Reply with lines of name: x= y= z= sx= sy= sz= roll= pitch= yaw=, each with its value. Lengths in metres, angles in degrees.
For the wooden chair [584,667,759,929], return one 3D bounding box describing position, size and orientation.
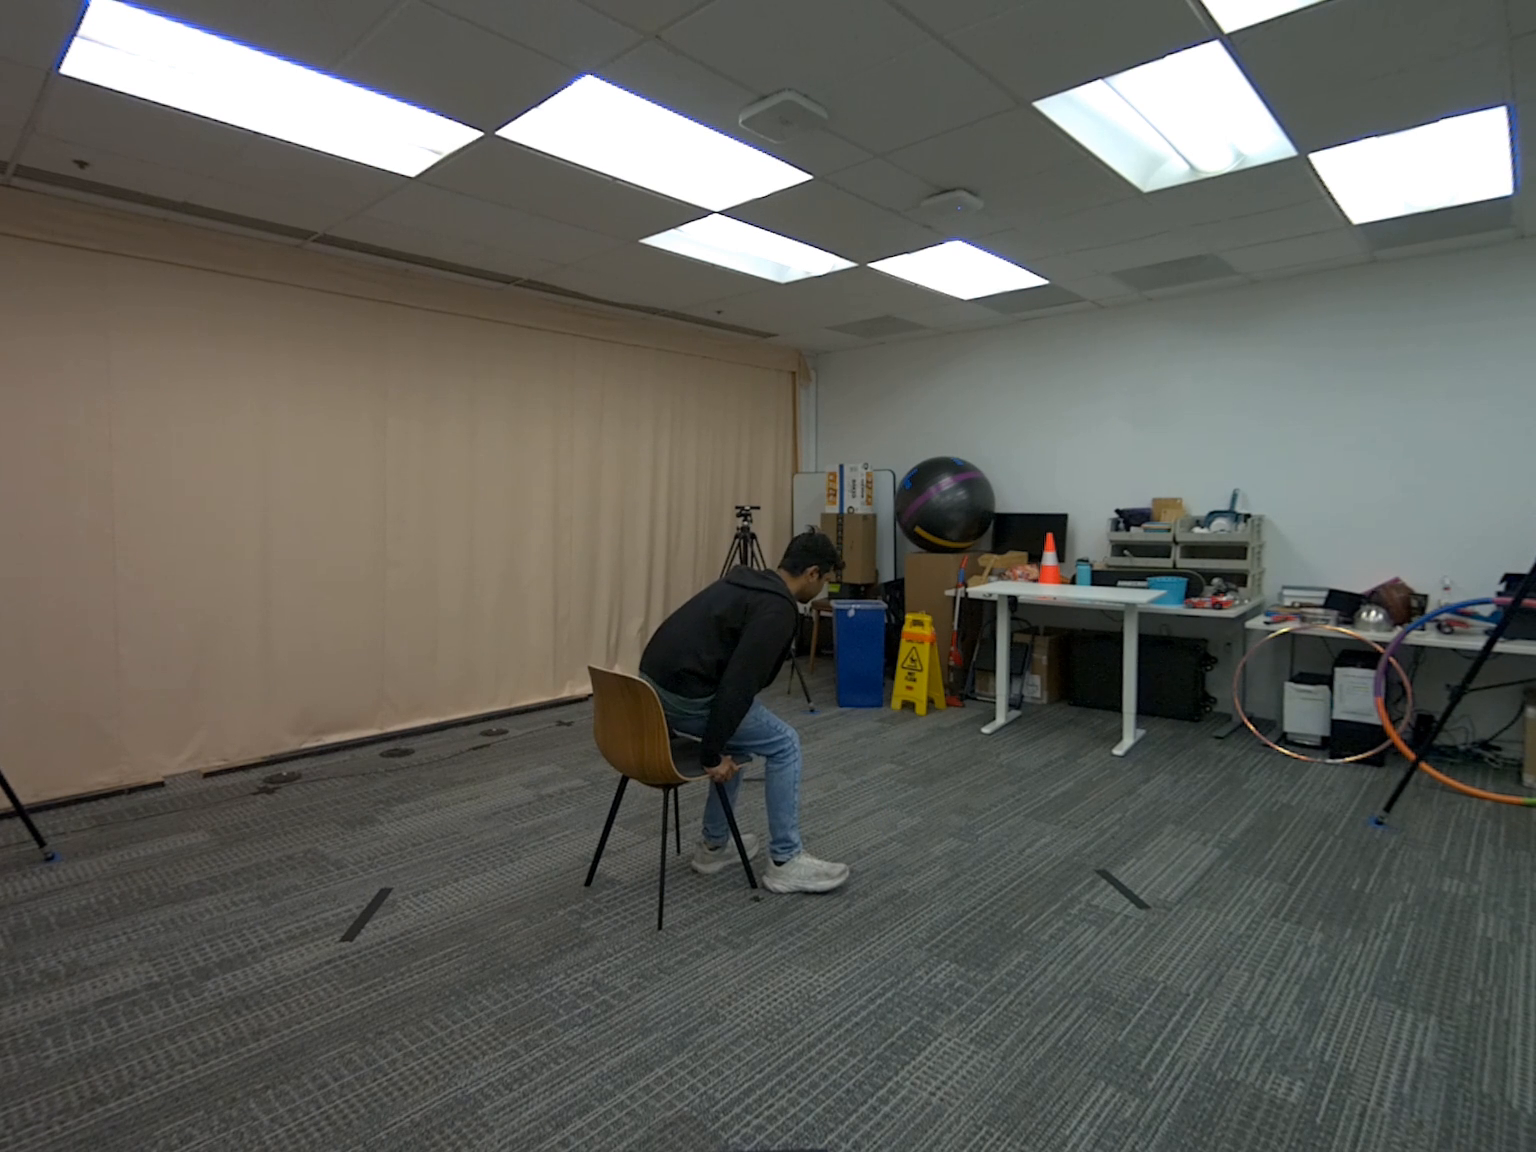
wooden chair: x=-0.352 y=0.715 z=3.062 sx=0.508 sy=0.874 sz=0.494 roll=-8 pitch=7 yaw=-43
